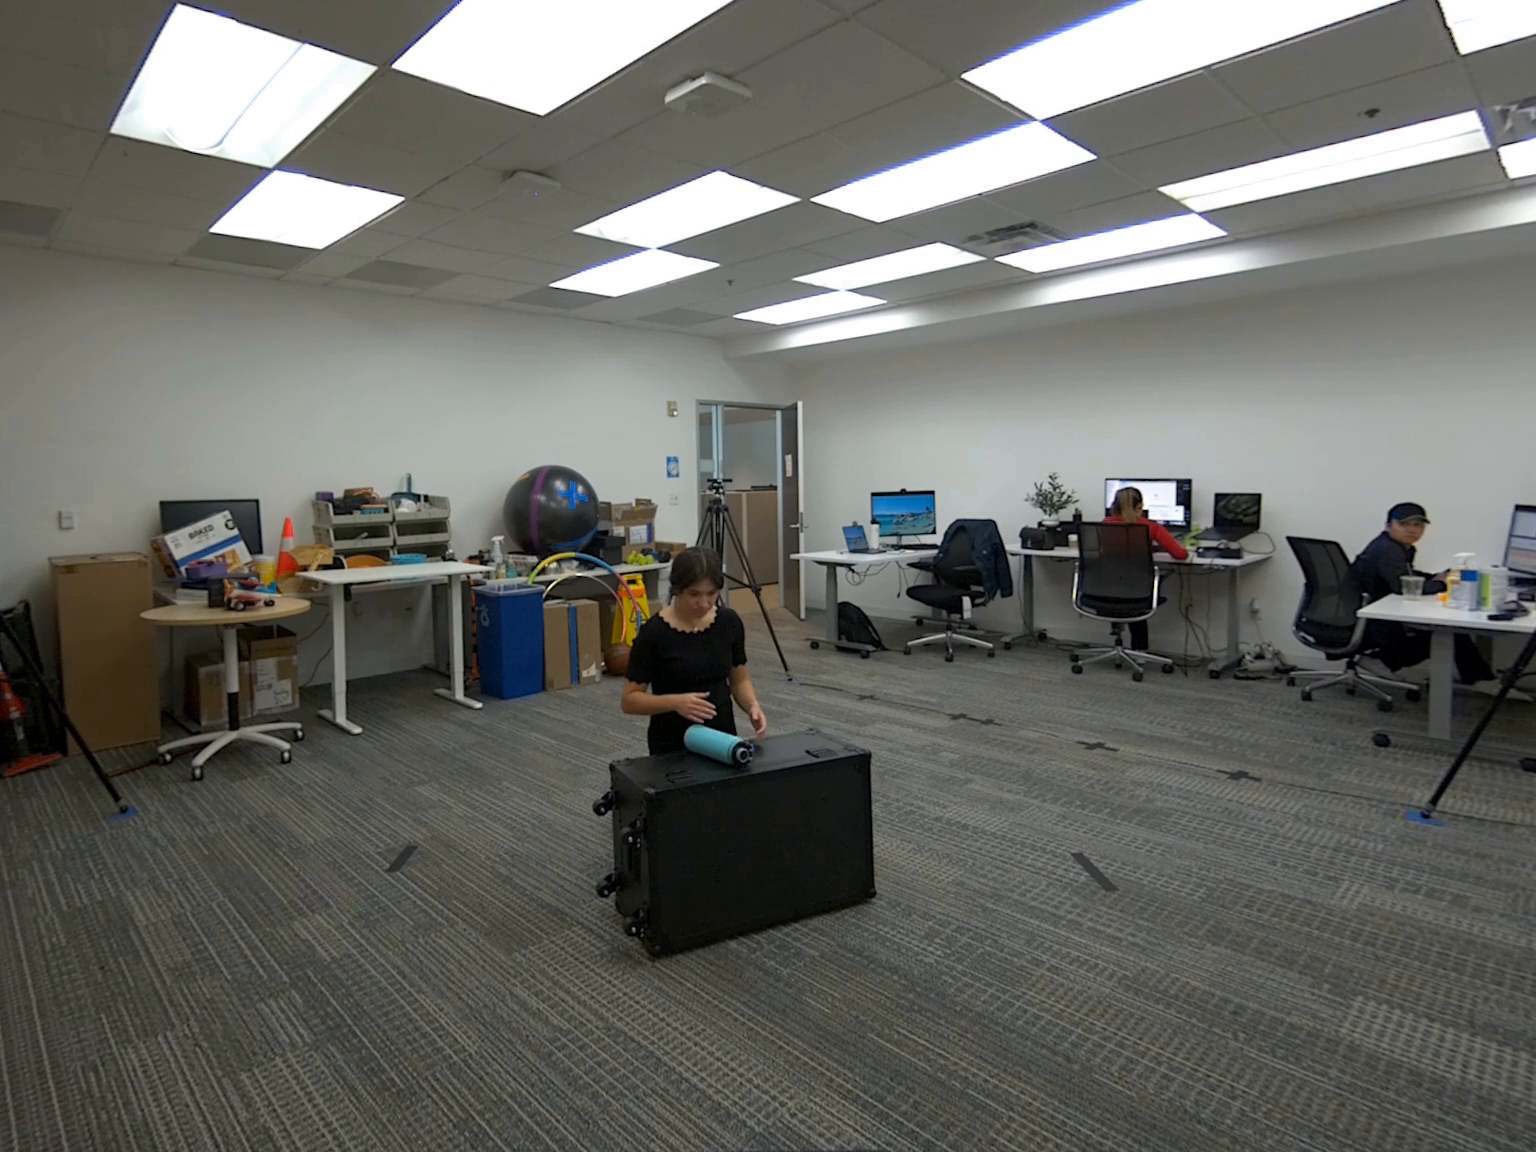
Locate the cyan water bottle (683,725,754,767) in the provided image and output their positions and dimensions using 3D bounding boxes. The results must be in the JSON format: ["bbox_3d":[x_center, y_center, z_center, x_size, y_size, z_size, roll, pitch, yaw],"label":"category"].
[{"bbox_3d":[-0.157,0.552,2.773,0.090,0.092,0.292,-5,7,-38],"label":"cyan water bottle"}]
